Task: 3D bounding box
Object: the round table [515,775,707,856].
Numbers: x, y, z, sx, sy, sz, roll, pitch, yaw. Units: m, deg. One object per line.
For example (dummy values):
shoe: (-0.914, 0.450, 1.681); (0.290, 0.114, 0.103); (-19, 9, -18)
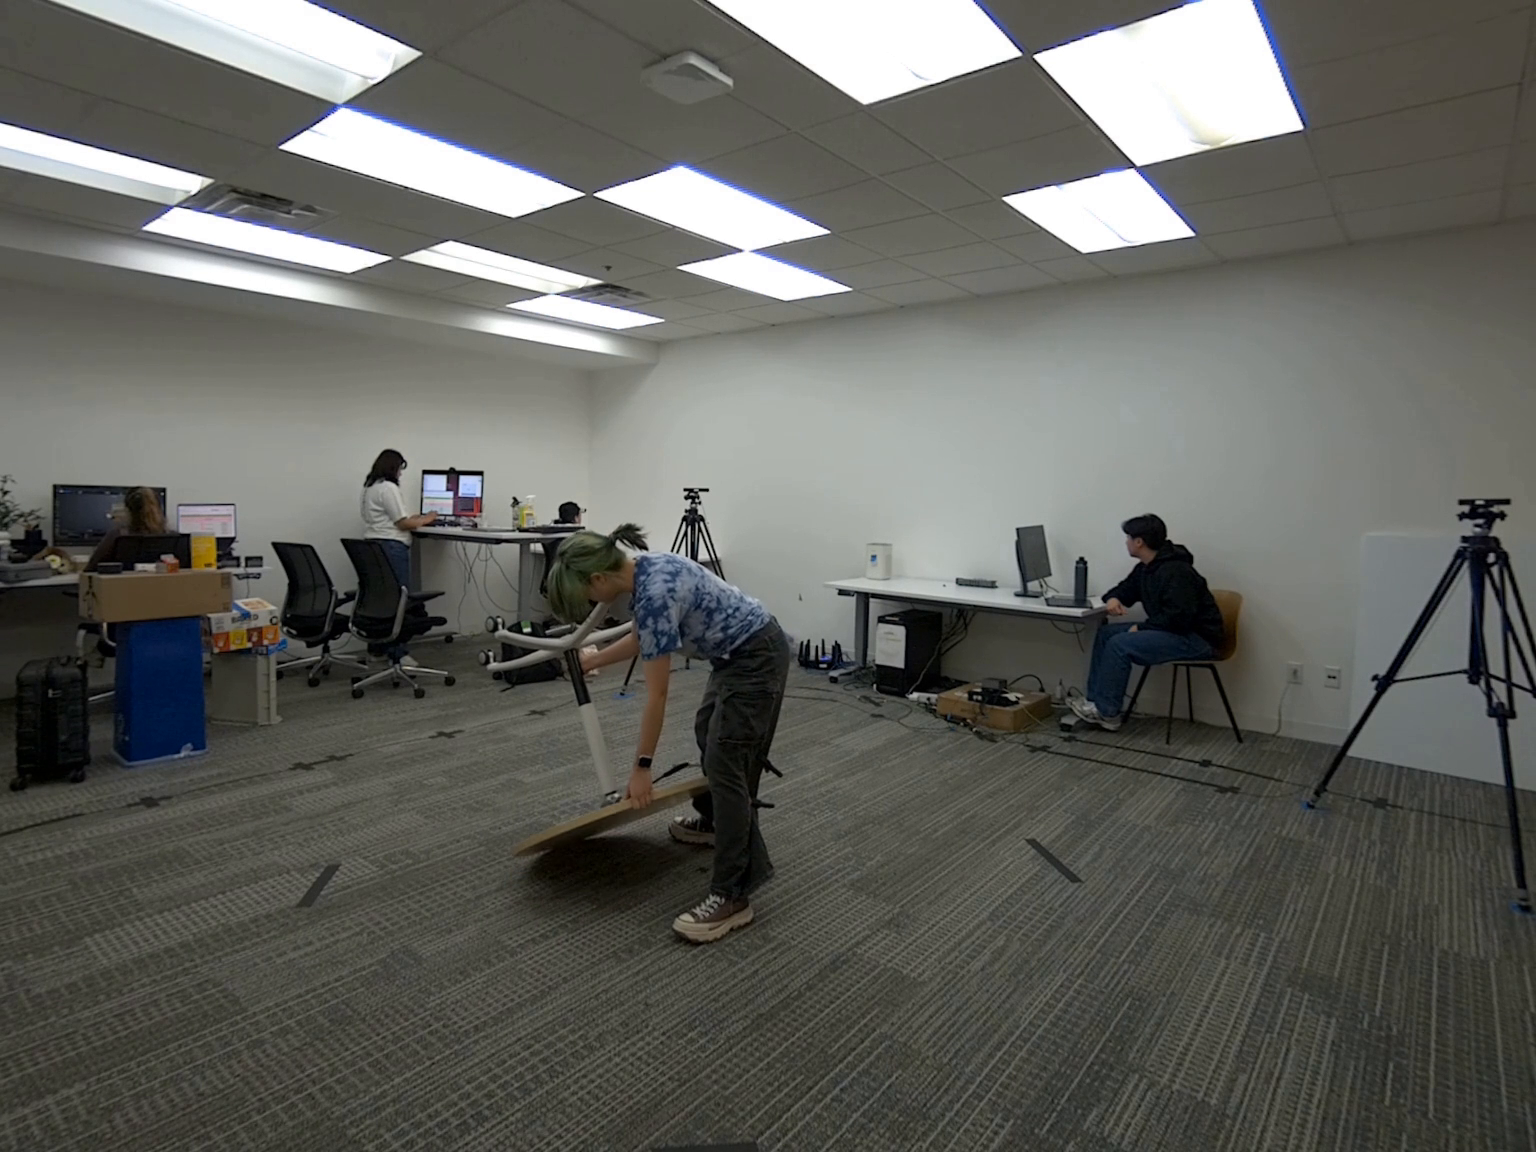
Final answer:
round table: (-0.693, 0.524, 3.201); (0.760, 0.811, 0.752); (-18, -17, -7)
